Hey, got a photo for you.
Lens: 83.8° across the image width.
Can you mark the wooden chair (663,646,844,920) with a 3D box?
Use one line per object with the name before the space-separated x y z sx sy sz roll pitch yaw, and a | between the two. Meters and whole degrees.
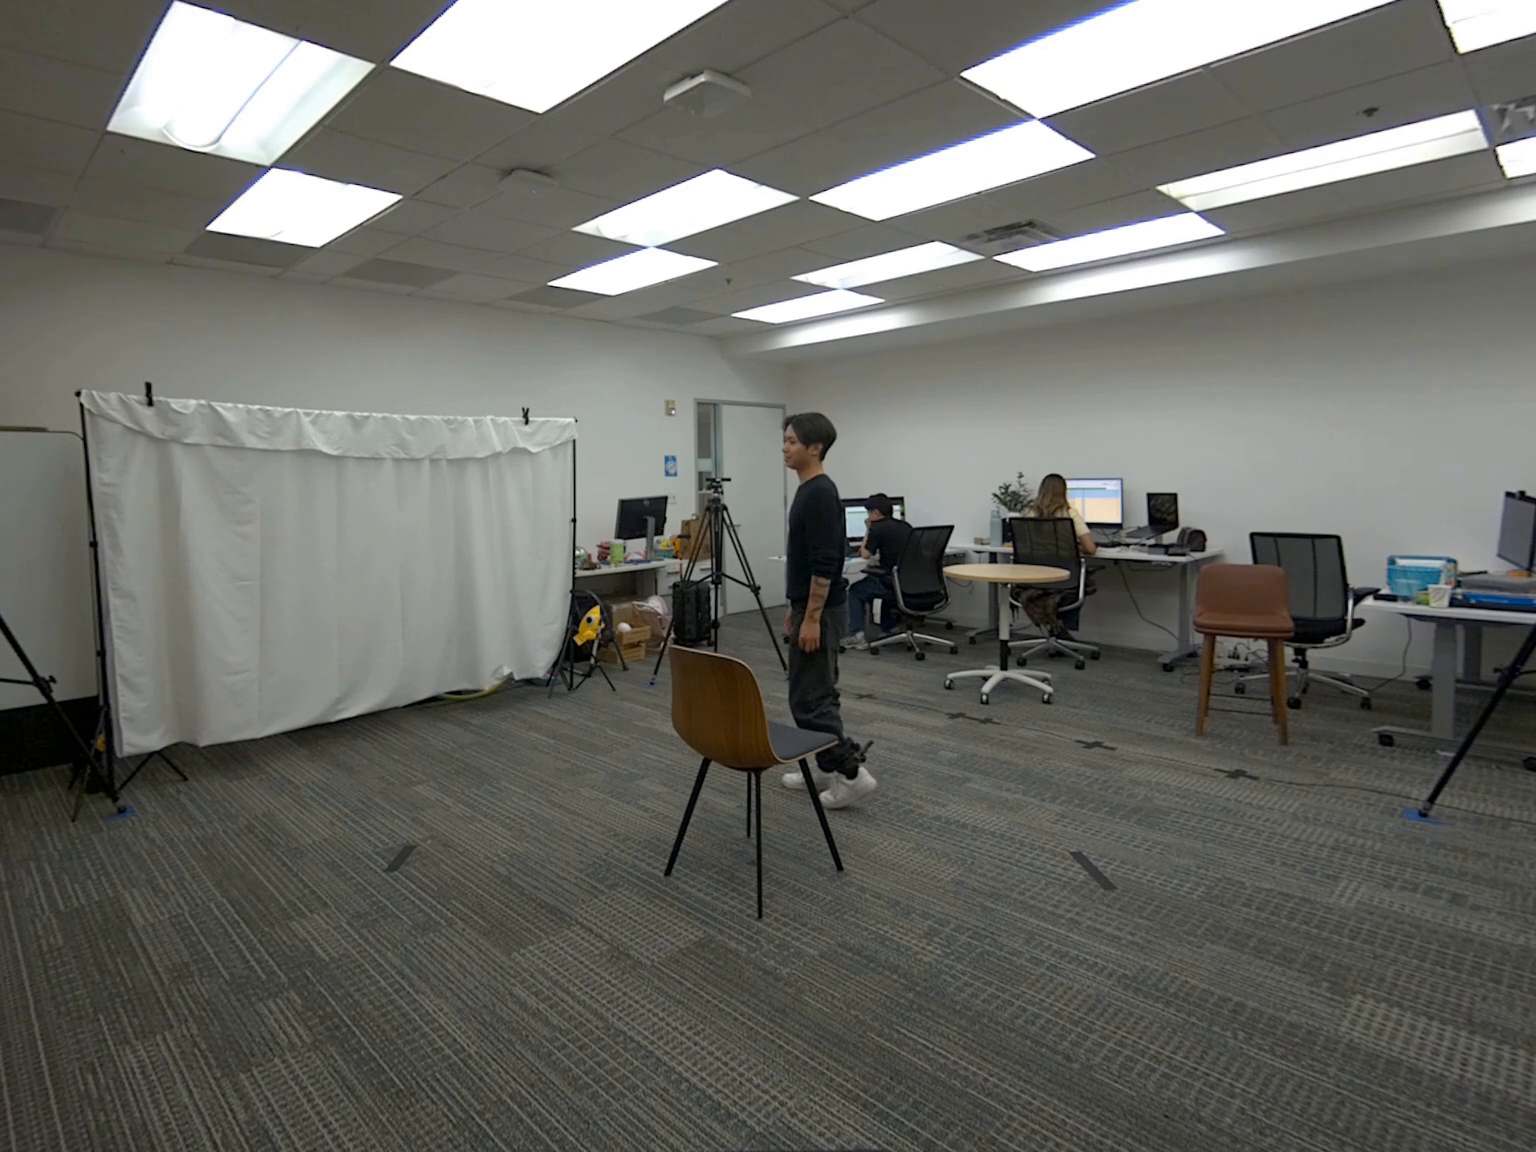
wooden chair | -0.049 0.627 2.995 0.493 0.871 0.511 3 10 42
